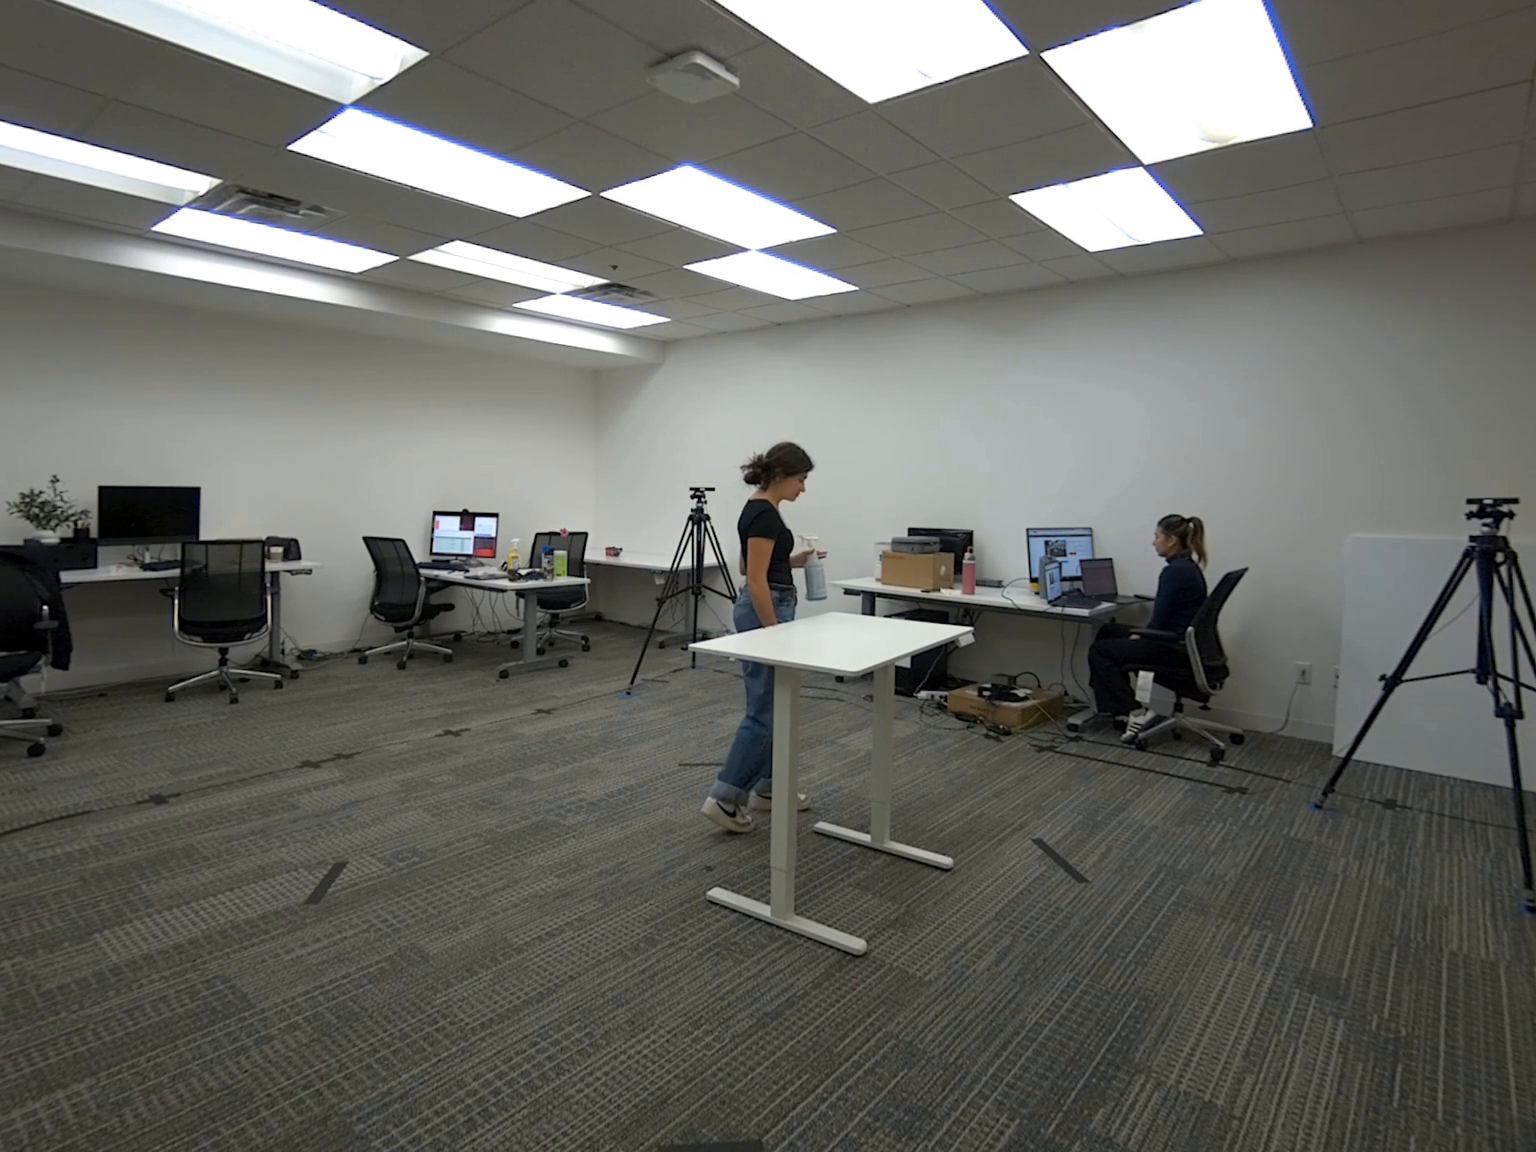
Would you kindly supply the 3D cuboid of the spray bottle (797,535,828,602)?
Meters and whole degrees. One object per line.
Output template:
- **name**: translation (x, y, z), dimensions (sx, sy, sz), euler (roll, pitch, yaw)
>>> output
- **spray bottle**: translation (0.188, -0.041, 3.752), dimensions (0.090, 0.298, 0.086), euler (-8, -2, 6)
